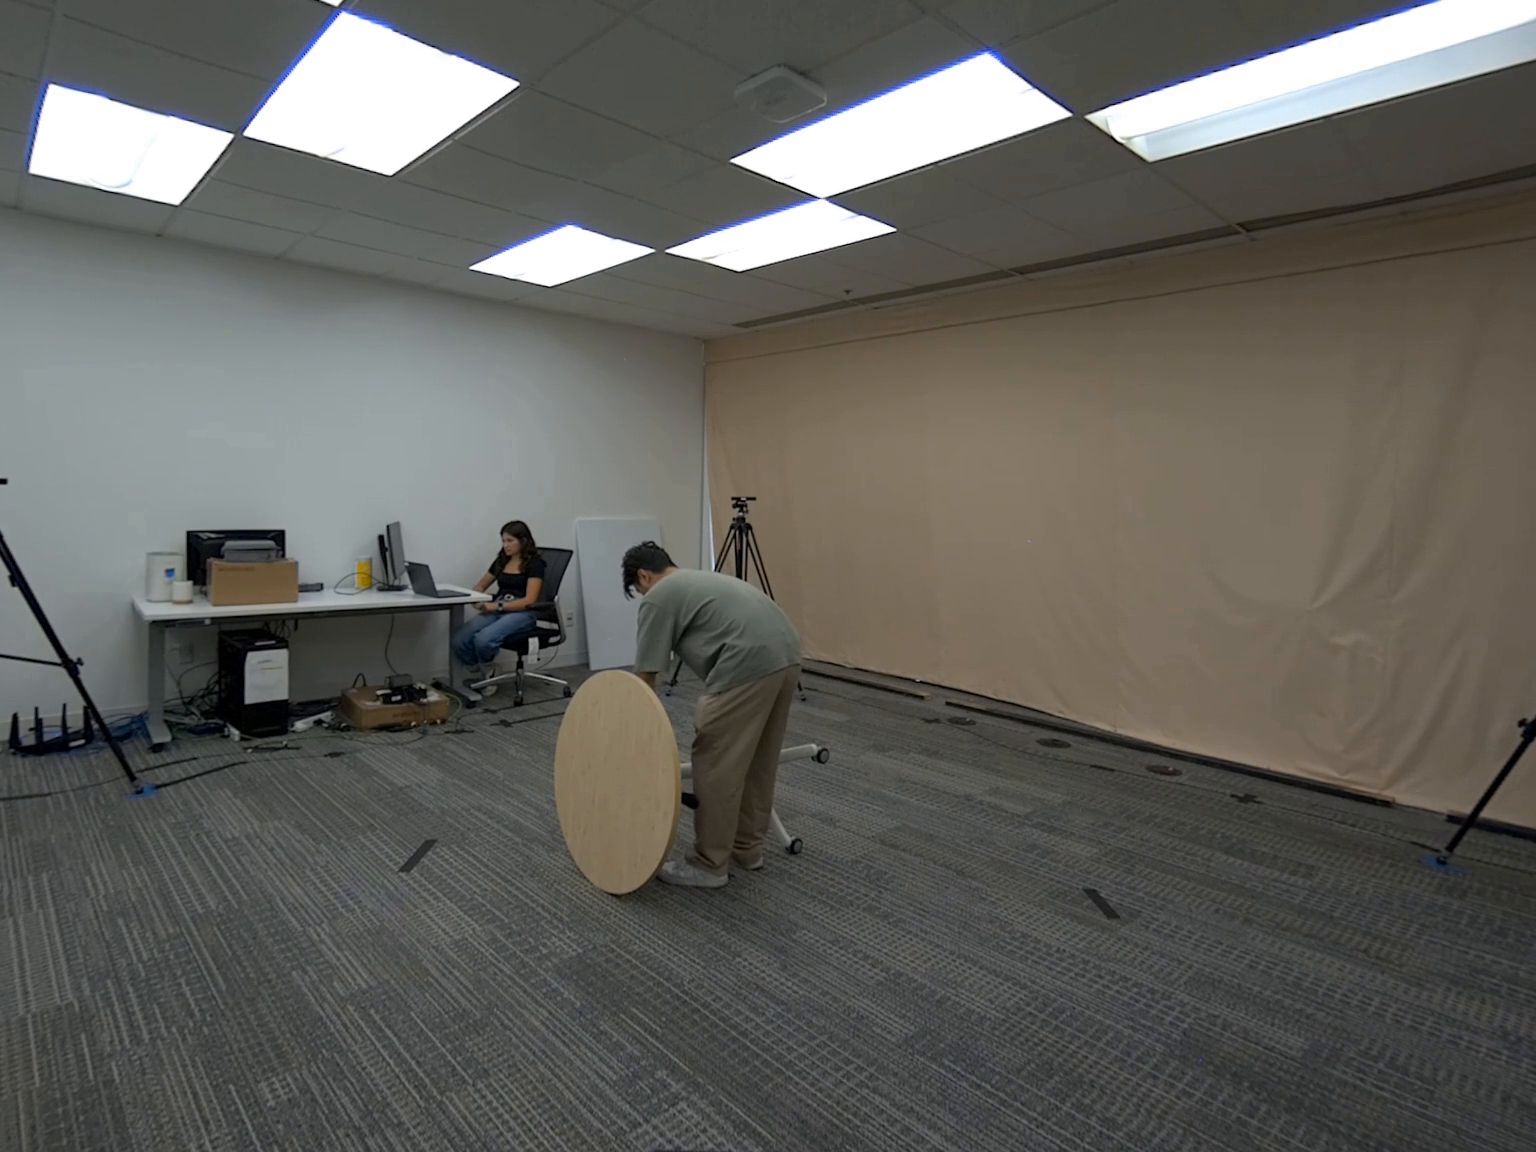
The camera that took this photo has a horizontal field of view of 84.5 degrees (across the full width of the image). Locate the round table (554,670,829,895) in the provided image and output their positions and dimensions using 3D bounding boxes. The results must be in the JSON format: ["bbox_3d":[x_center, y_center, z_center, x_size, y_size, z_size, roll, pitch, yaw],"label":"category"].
[{"bbox_3d":[-0.293,0.756,3.269,0.766,0.786,0.805,7,-1,-43],"label":"round table"}]
